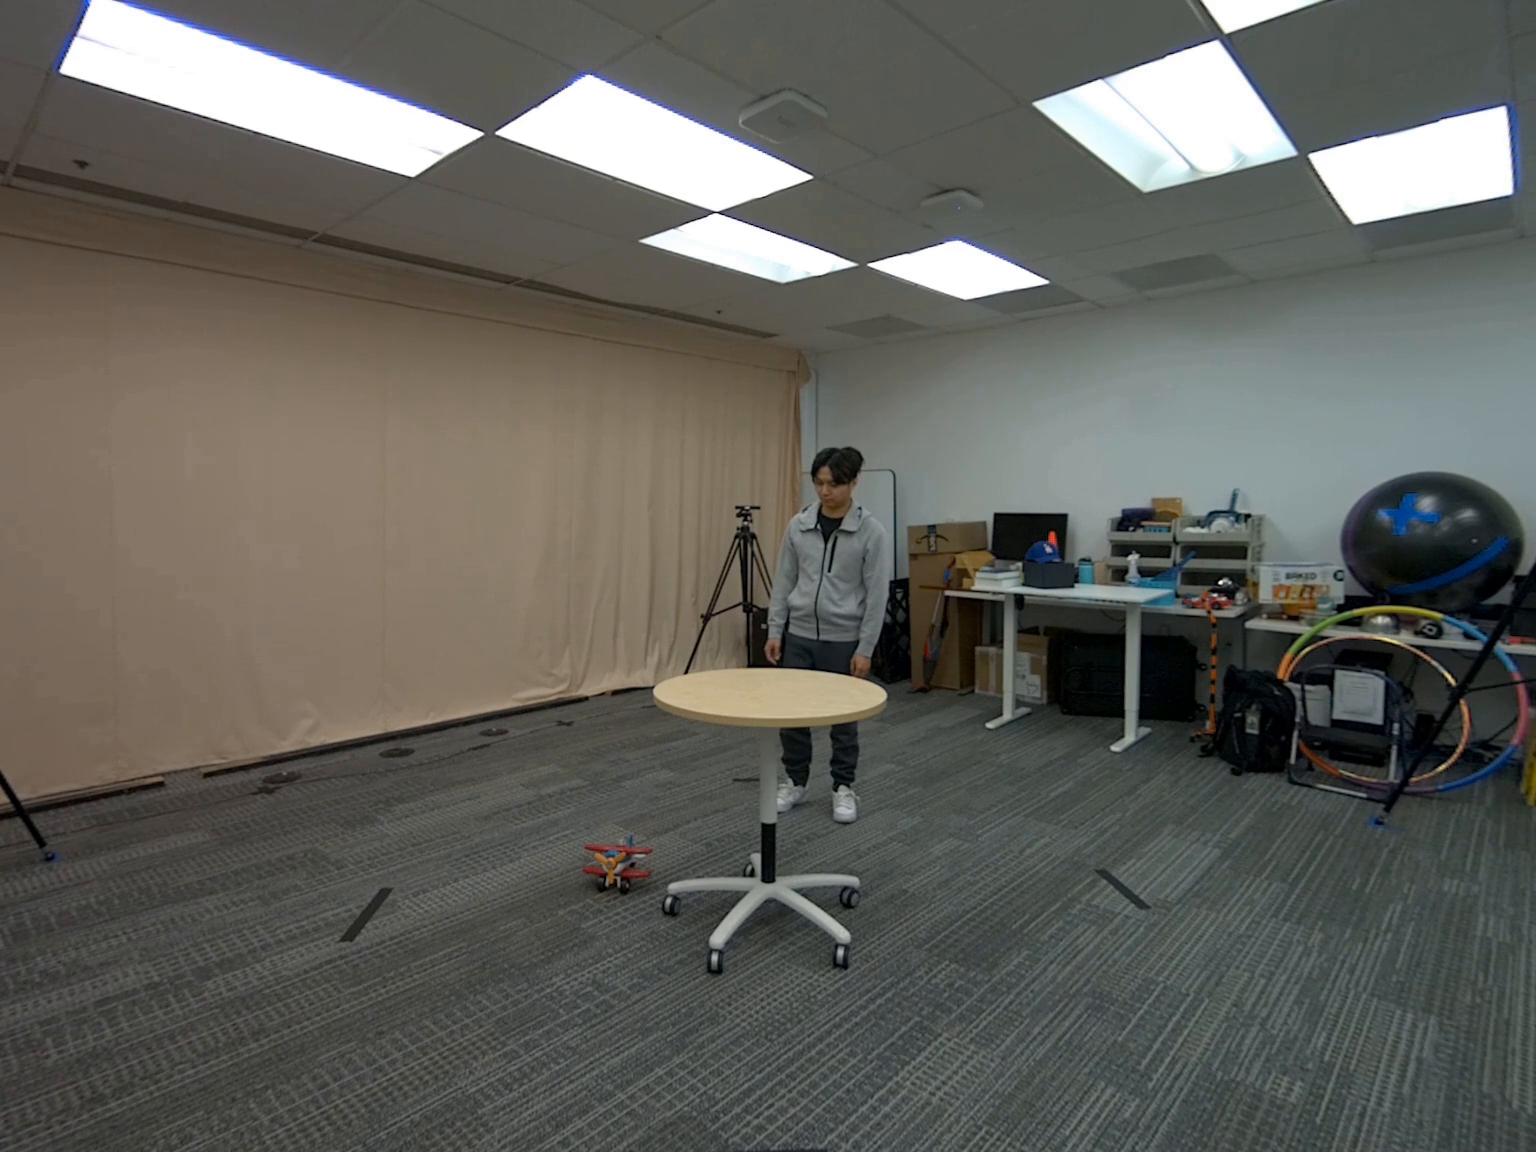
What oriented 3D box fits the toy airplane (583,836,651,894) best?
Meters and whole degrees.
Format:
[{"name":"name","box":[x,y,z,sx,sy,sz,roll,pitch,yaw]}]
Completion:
[{"name":"toy airplane","box":[-0.562,1.062,3.128,0.247,0.156,0.264,-2,5,-18]}]
